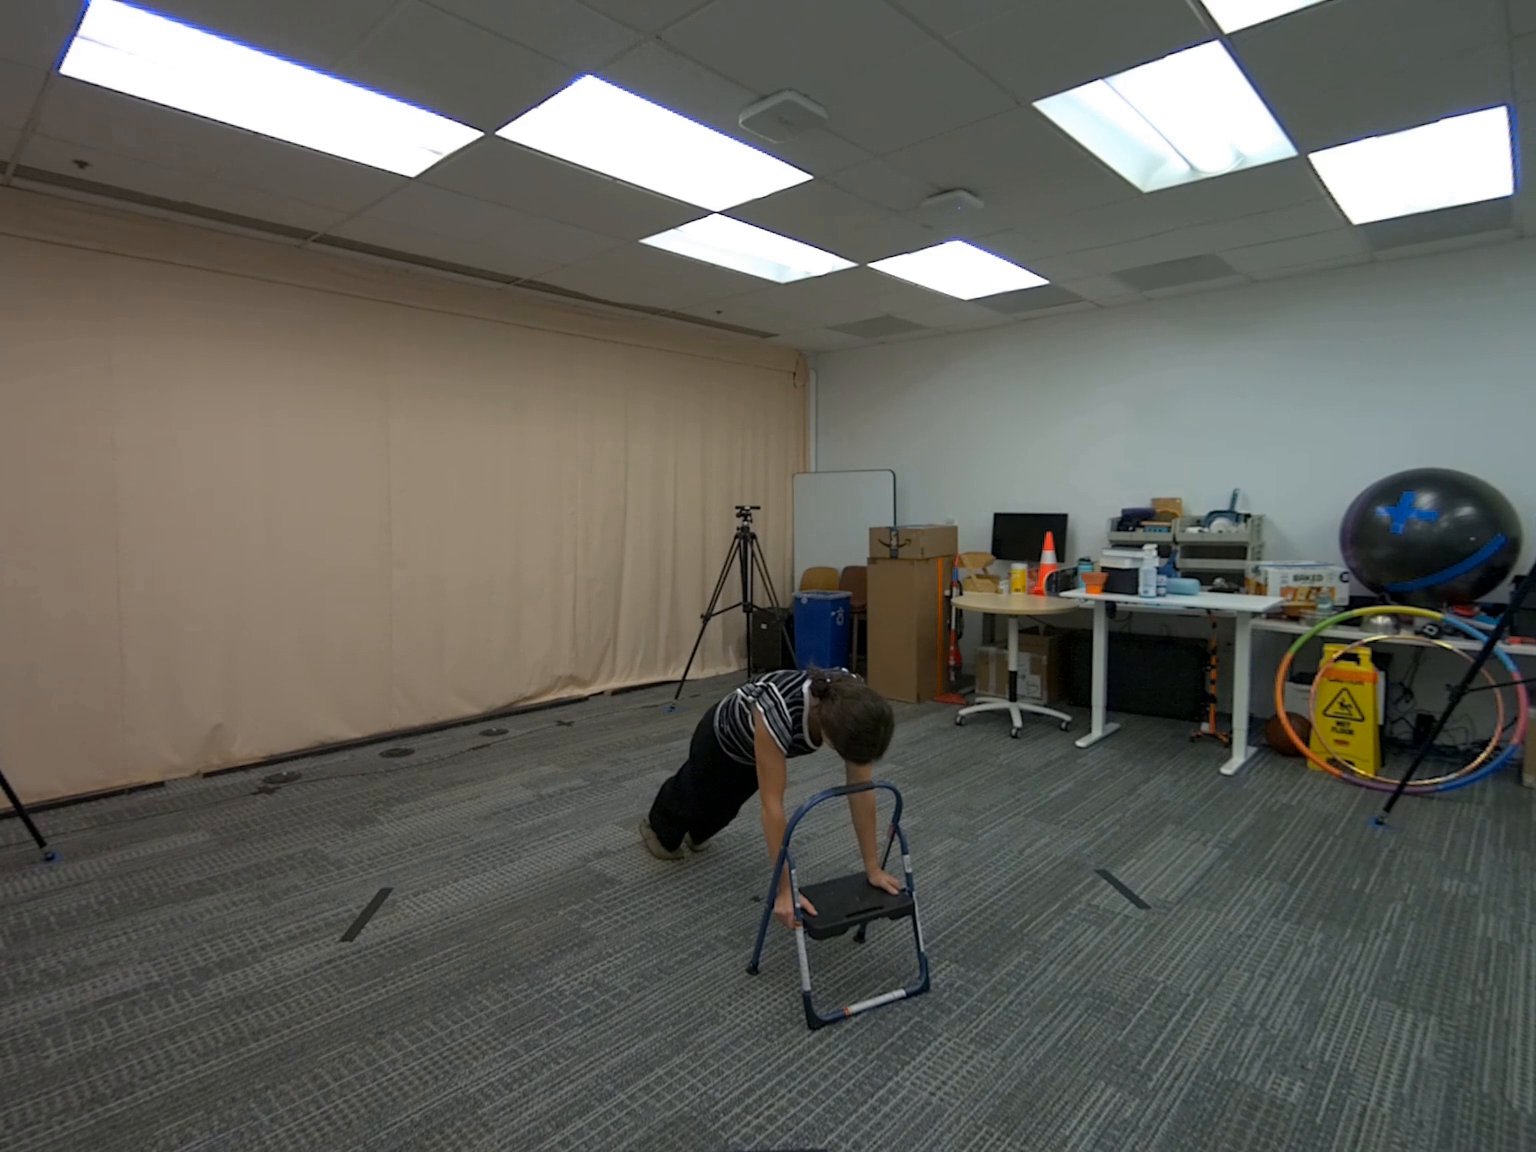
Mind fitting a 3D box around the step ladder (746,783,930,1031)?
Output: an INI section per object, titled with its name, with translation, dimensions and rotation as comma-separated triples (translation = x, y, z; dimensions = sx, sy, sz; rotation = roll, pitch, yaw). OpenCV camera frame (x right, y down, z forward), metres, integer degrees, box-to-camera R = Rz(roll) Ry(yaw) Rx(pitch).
[step ladder]
translation = 0.212, 0.889, 2.454
dimensions = 0.419, 0.605, 0.359
rotation = -2, 4, -30
